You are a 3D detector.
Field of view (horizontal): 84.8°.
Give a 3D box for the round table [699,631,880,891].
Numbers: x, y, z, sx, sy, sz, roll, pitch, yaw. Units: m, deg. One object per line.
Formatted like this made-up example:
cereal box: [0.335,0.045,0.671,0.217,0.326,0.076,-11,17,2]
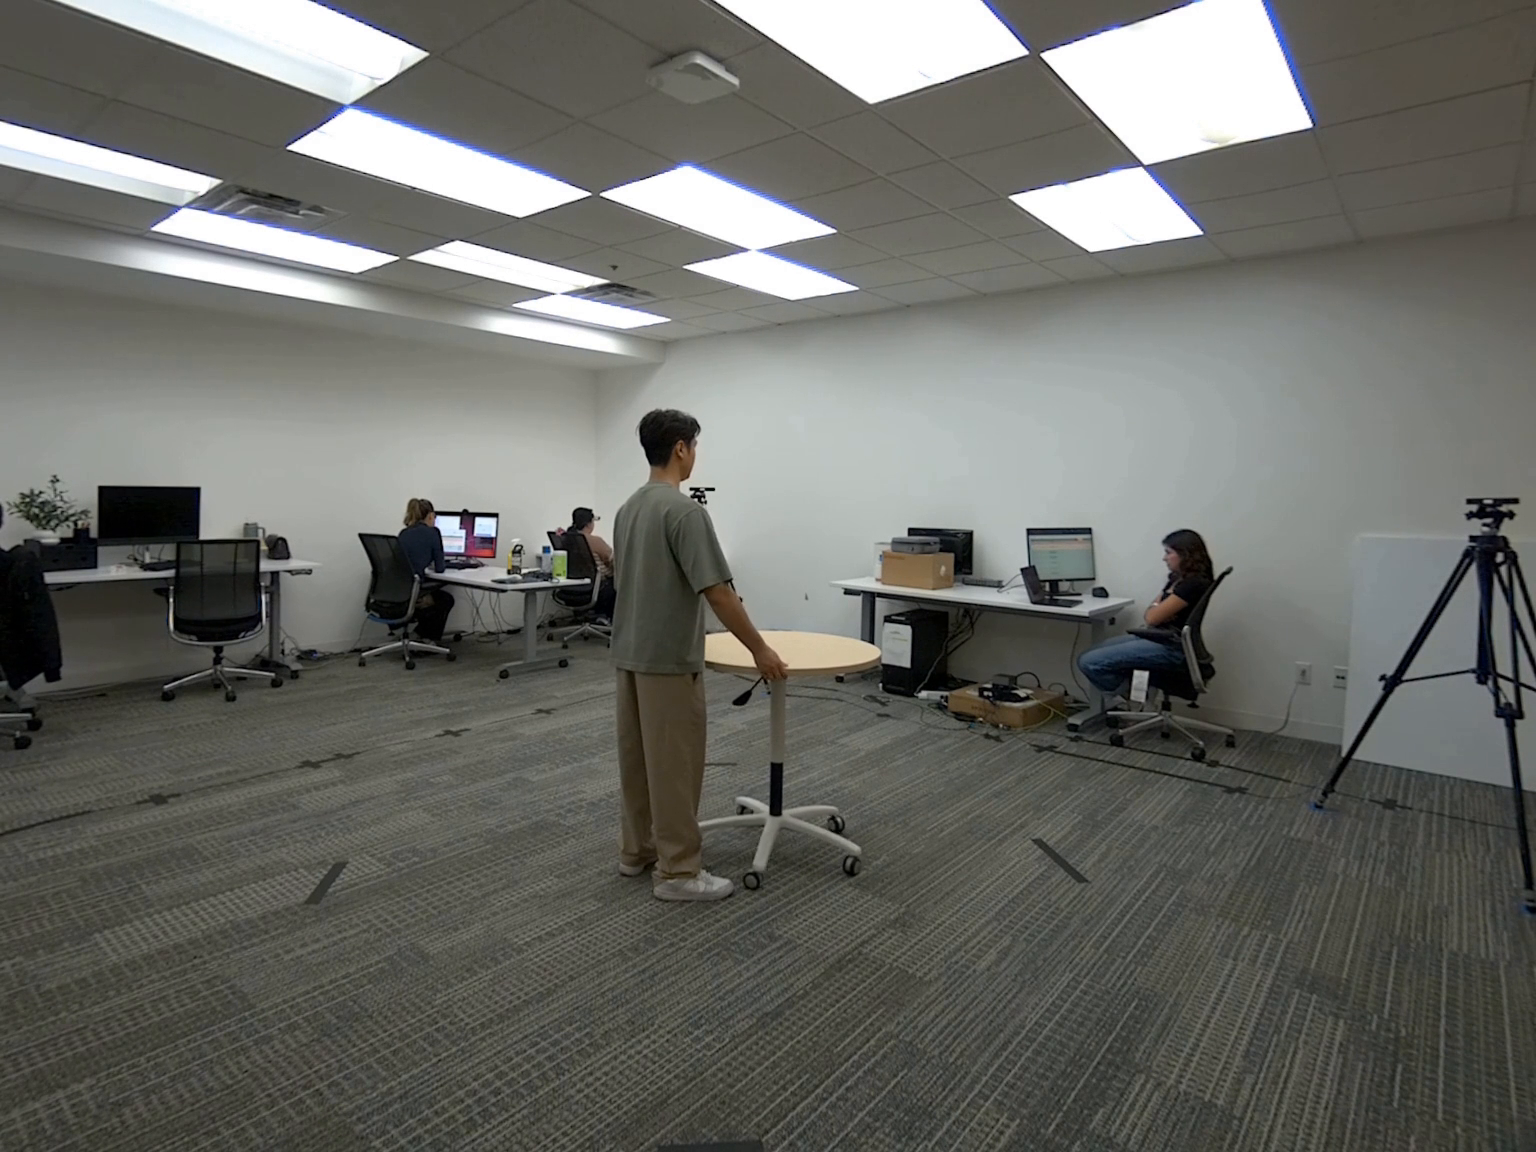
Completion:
round table: [0.042,0.661,3.270,0.784,0.784,0.789,0,4,-2]
